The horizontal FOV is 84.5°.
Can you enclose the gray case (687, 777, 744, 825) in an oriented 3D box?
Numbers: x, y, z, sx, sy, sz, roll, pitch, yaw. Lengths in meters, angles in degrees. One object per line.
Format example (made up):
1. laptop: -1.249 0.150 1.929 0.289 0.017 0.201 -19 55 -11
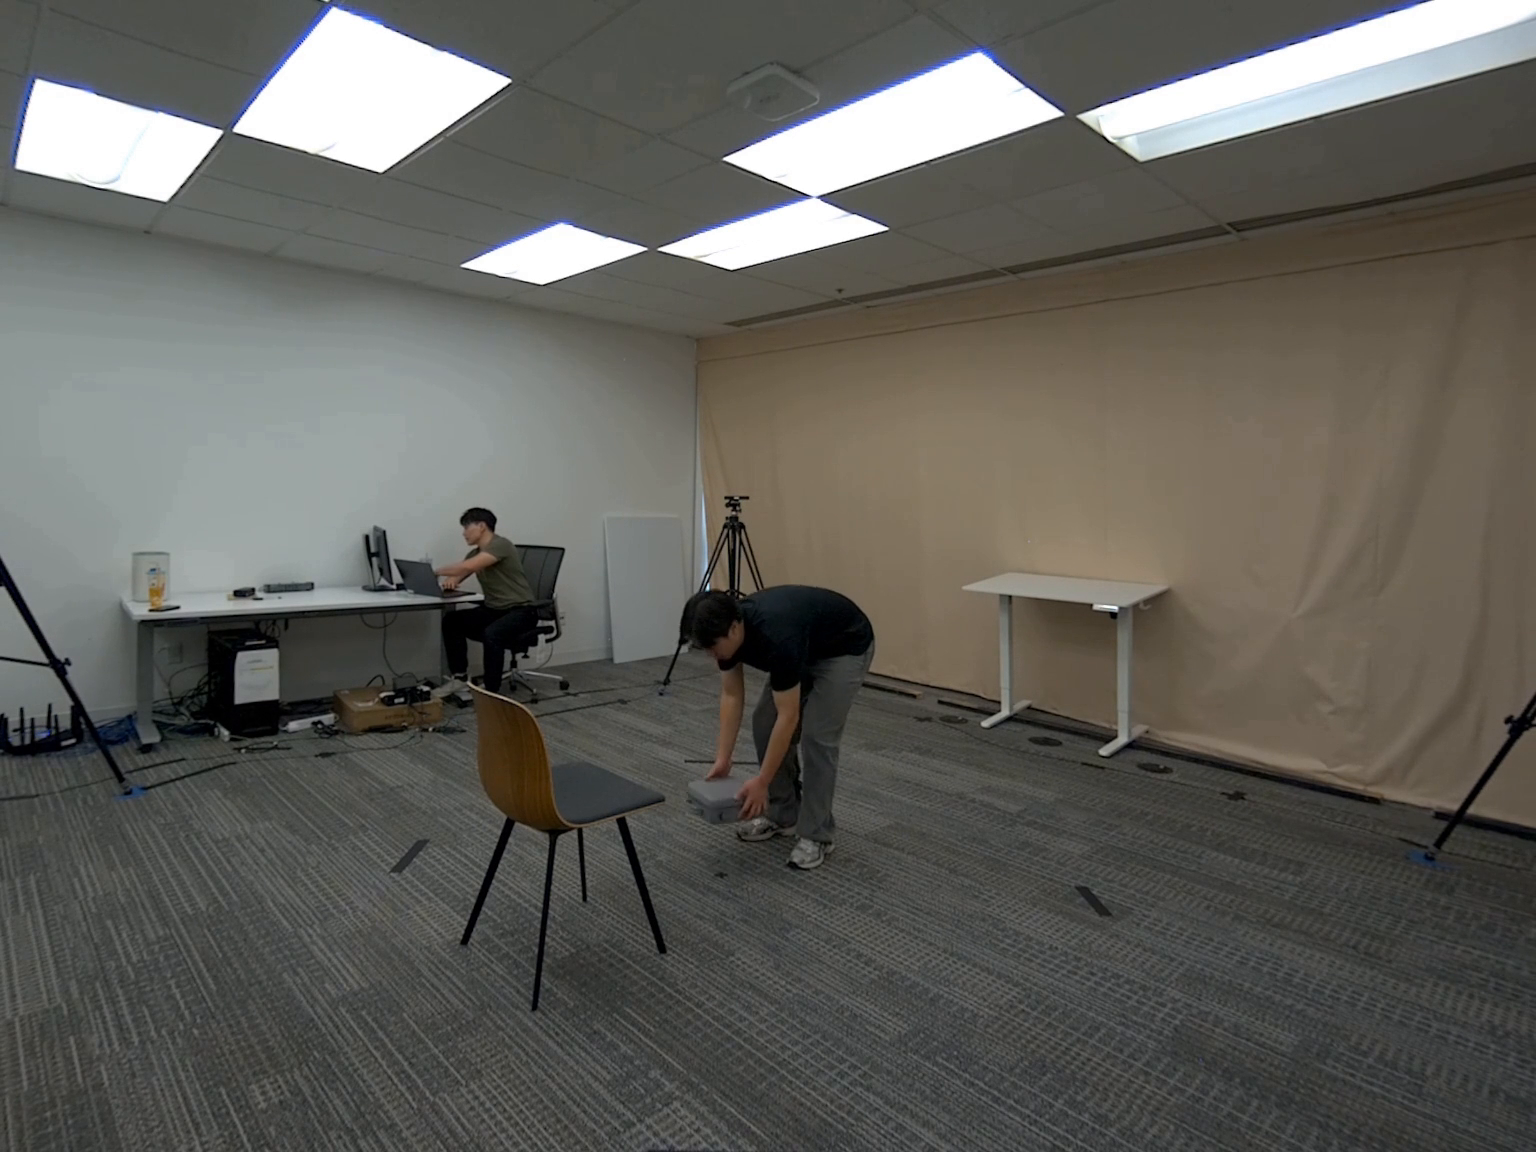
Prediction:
1. gray case: -0.171 0.833 3.189 0.282 0.103 0.268 -1 3 -27
